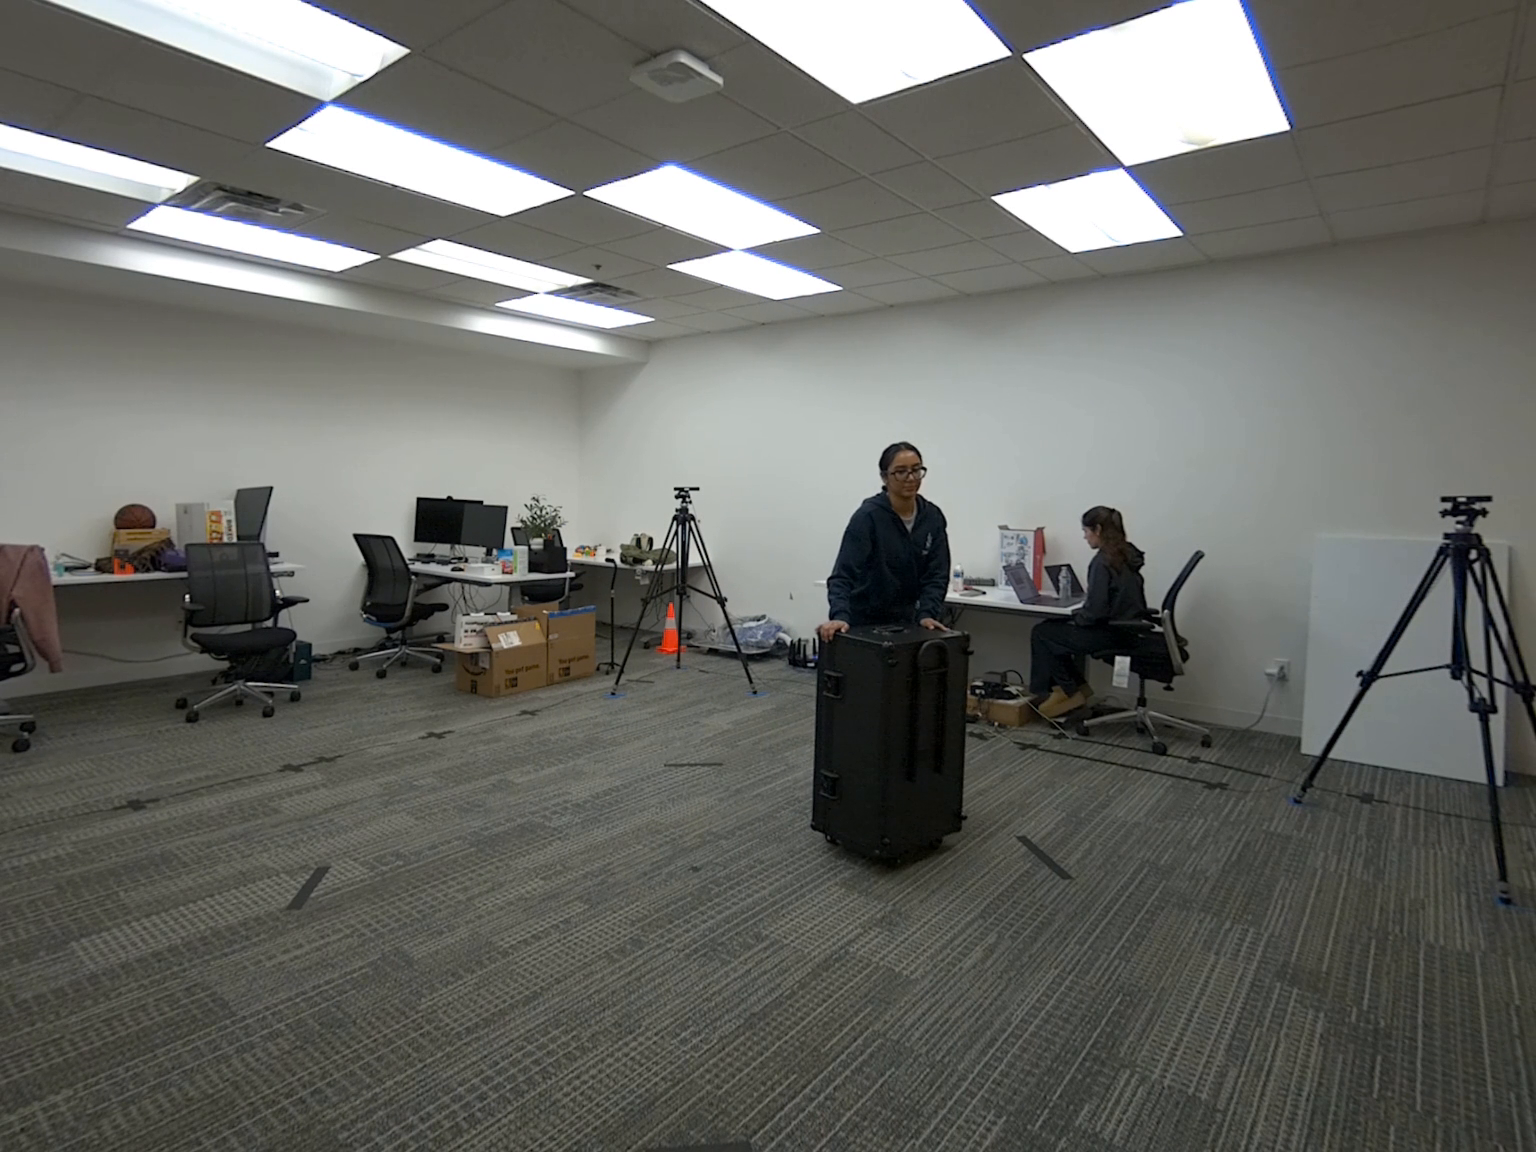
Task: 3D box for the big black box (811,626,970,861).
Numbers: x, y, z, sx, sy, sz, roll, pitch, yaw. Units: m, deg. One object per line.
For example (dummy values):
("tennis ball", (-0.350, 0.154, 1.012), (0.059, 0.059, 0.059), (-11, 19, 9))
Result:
("big black box", (0.475, 0.634, 3.307), (0.505, 0.858, 0.410), (-1, 6, -41))
